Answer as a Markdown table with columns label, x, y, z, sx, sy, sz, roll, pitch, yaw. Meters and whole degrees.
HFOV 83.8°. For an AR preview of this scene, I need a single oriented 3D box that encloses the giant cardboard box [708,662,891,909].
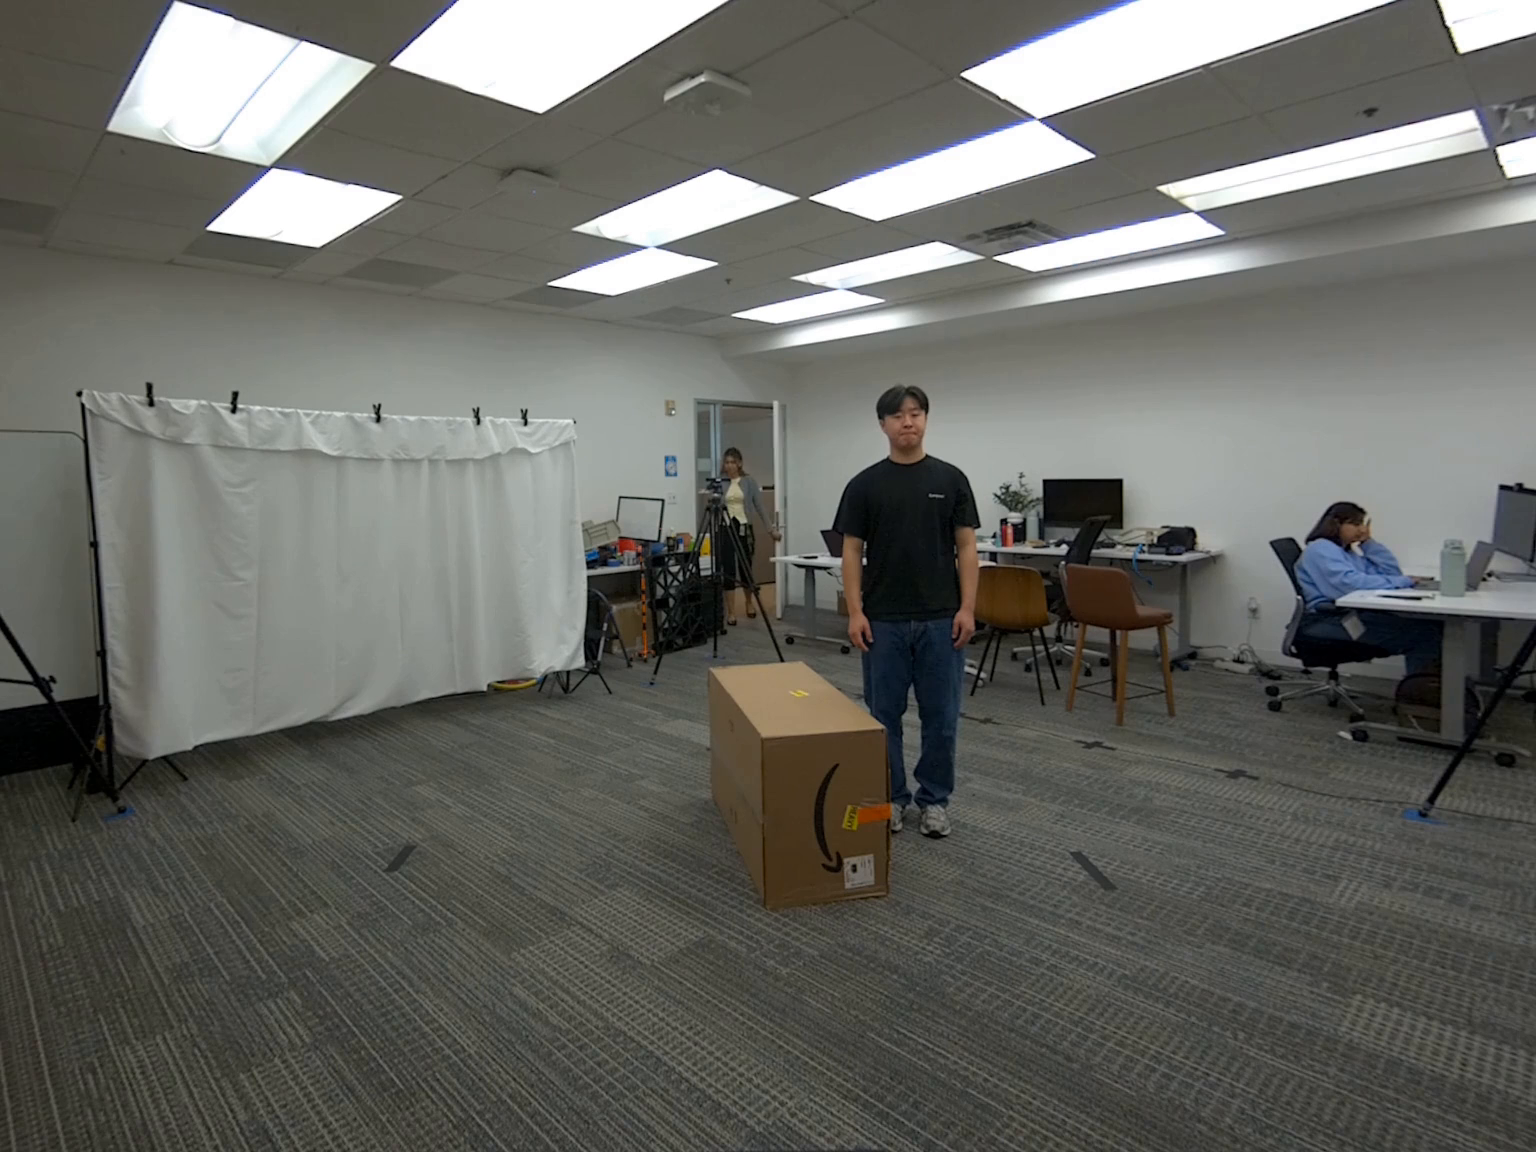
| label | x | y | z | sx | sy | sz | roll | pitch | yaw |
| --- | --- | --- | --- | --- | --- | --- | --- | --- | --- |
| giant cardboard box | 0.075 | 0.730 | 3.281 | 0.441 | 0.581 | 1.044 | -1 | 6 | -14 |
